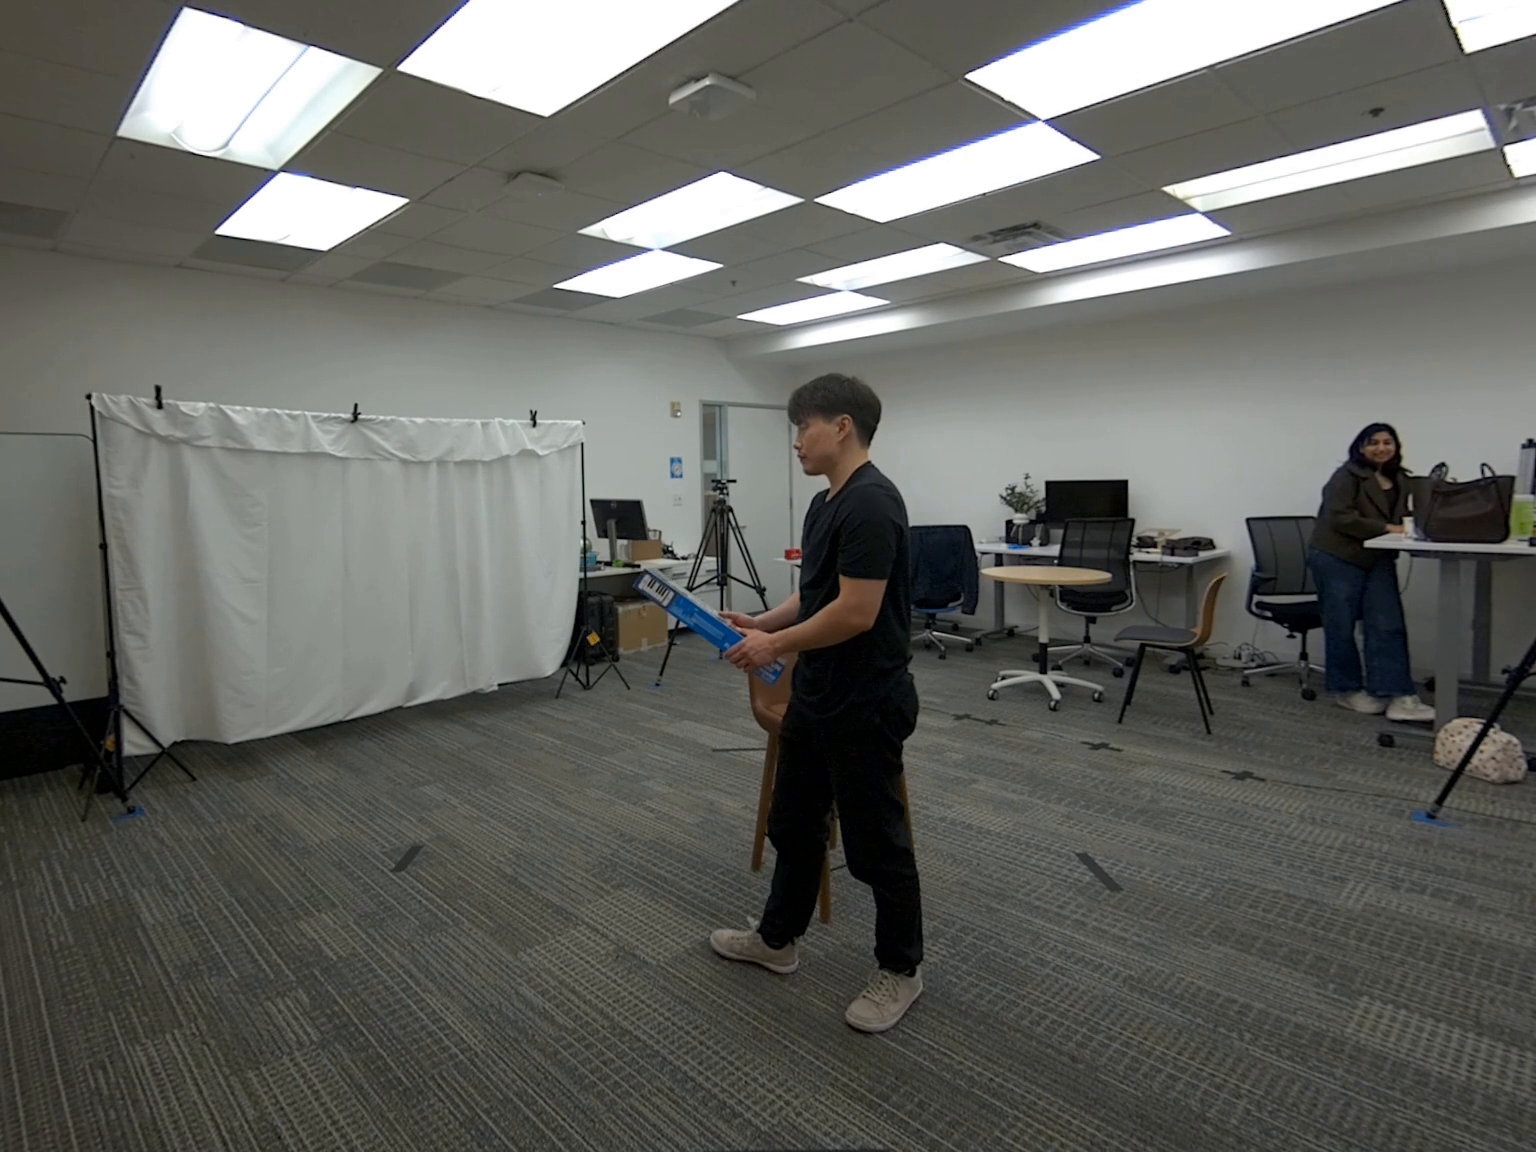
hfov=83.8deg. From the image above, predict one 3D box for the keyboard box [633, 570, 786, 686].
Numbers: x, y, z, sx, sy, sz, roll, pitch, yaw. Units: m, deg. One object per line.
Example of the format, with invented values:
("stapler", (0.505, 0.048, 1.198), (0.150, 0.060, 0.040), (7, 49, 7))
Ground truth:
("keyboard box", (-0.152, 0.123, 2.256), (0.441, 0.059, 0.174), (35, 4, 6))
